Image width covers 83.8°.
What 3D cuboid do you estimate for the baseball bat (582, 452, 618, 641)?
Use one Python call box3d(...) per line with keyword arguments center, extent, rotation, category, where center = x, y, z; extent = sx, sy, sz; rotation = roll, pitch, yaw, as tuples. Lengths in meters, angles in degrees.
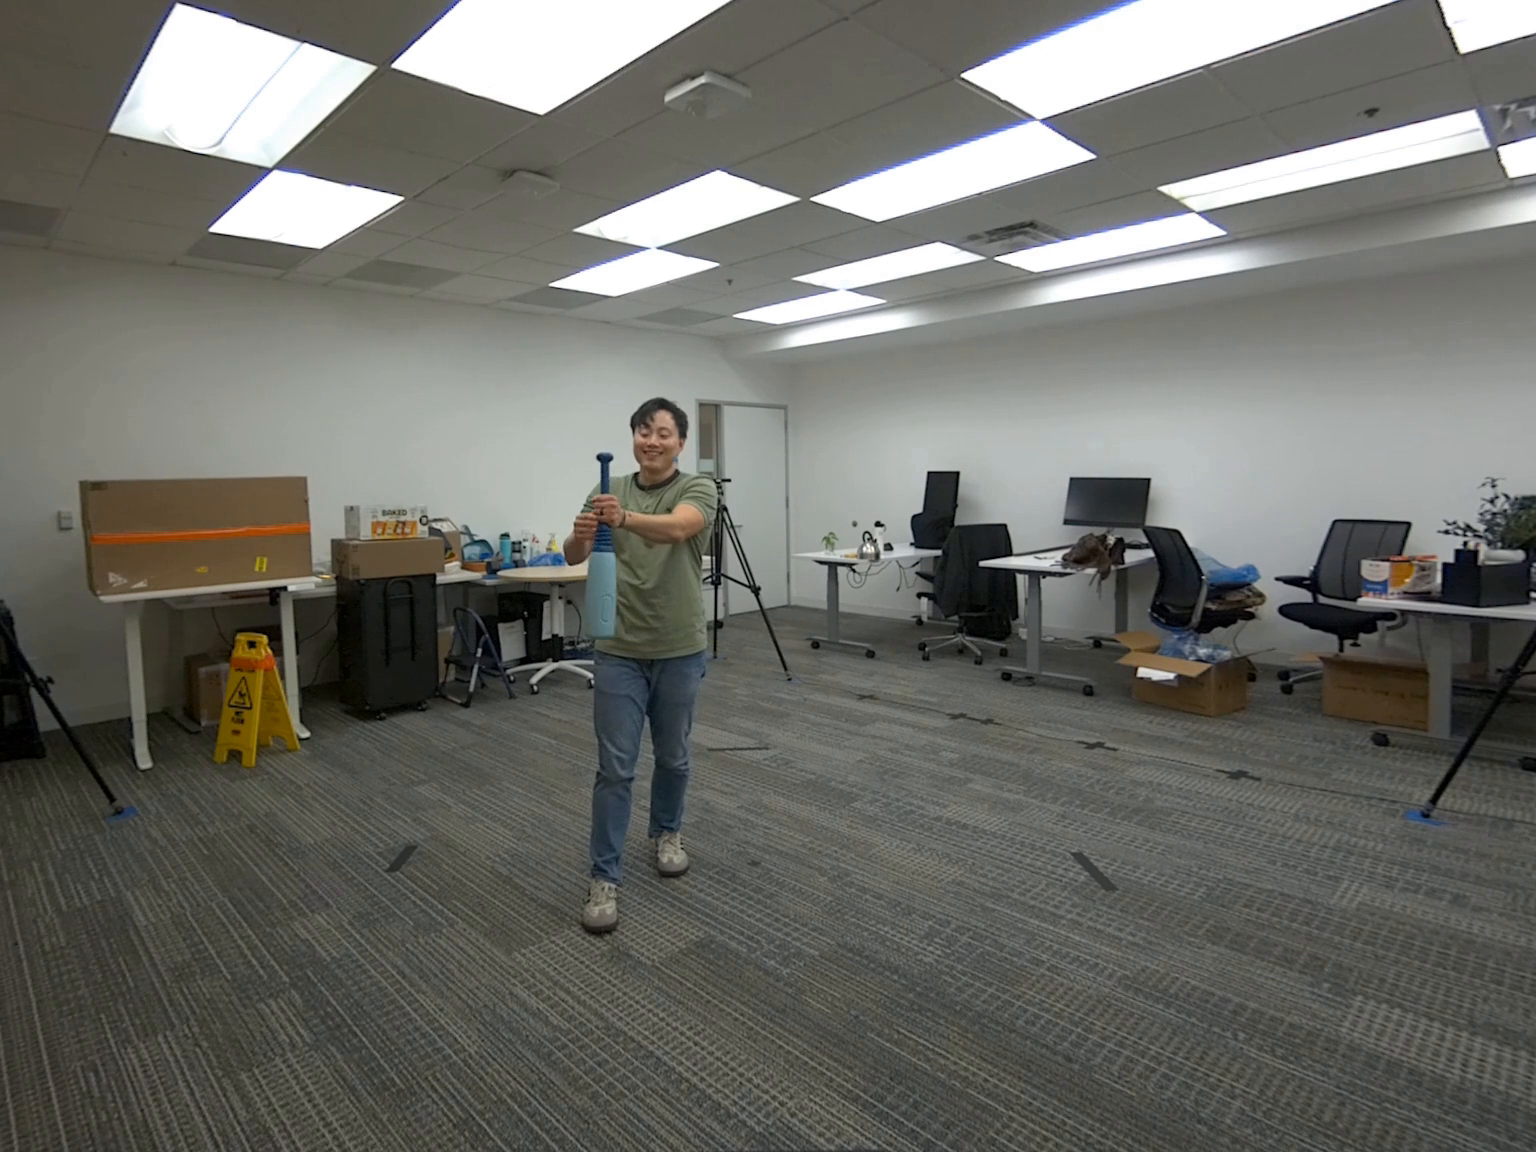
box3d(center=(-0.485, -0.093, 2.491), extent=(0.089, 0.544, 0.089), rotation=(2, -3, -2), category="baseball bat")
